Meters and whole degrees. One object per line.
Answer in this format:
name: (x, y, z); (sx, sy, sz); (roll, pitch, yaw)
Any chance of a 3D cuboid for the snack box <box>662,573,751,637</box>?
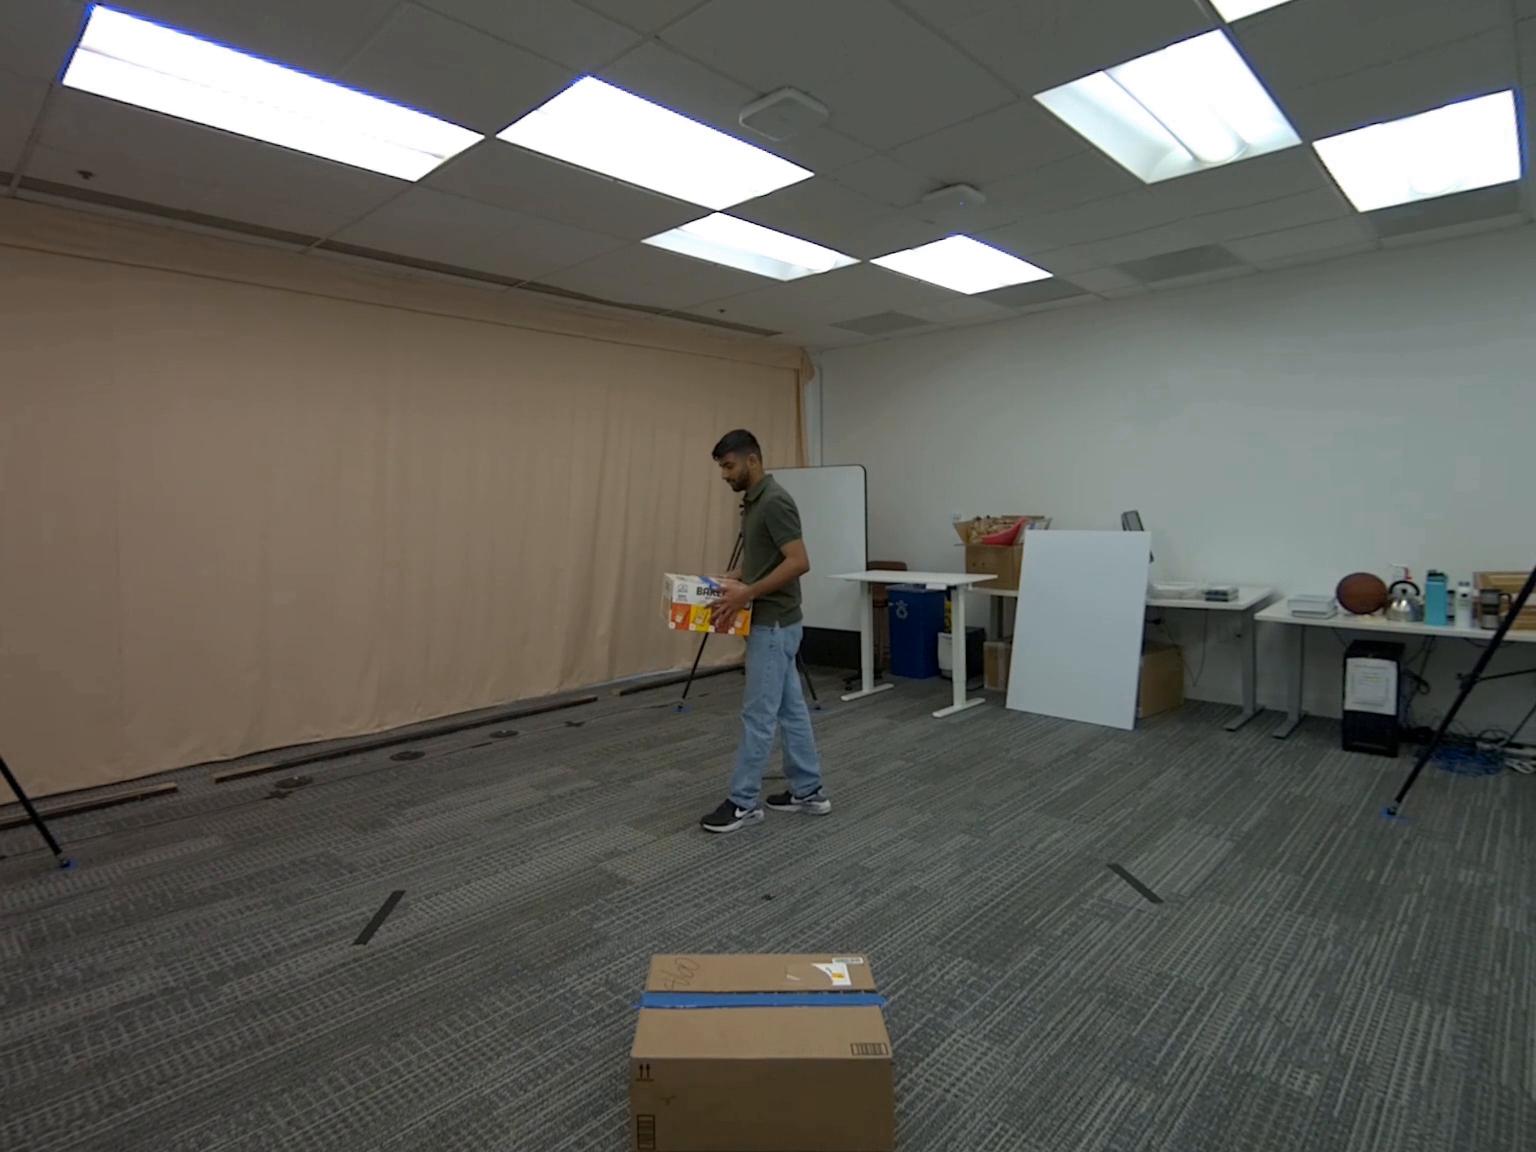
snack box: (-0.280, 0.119, 3.699); (0.336, 0.205, 0.410); (7, 3, -12)
